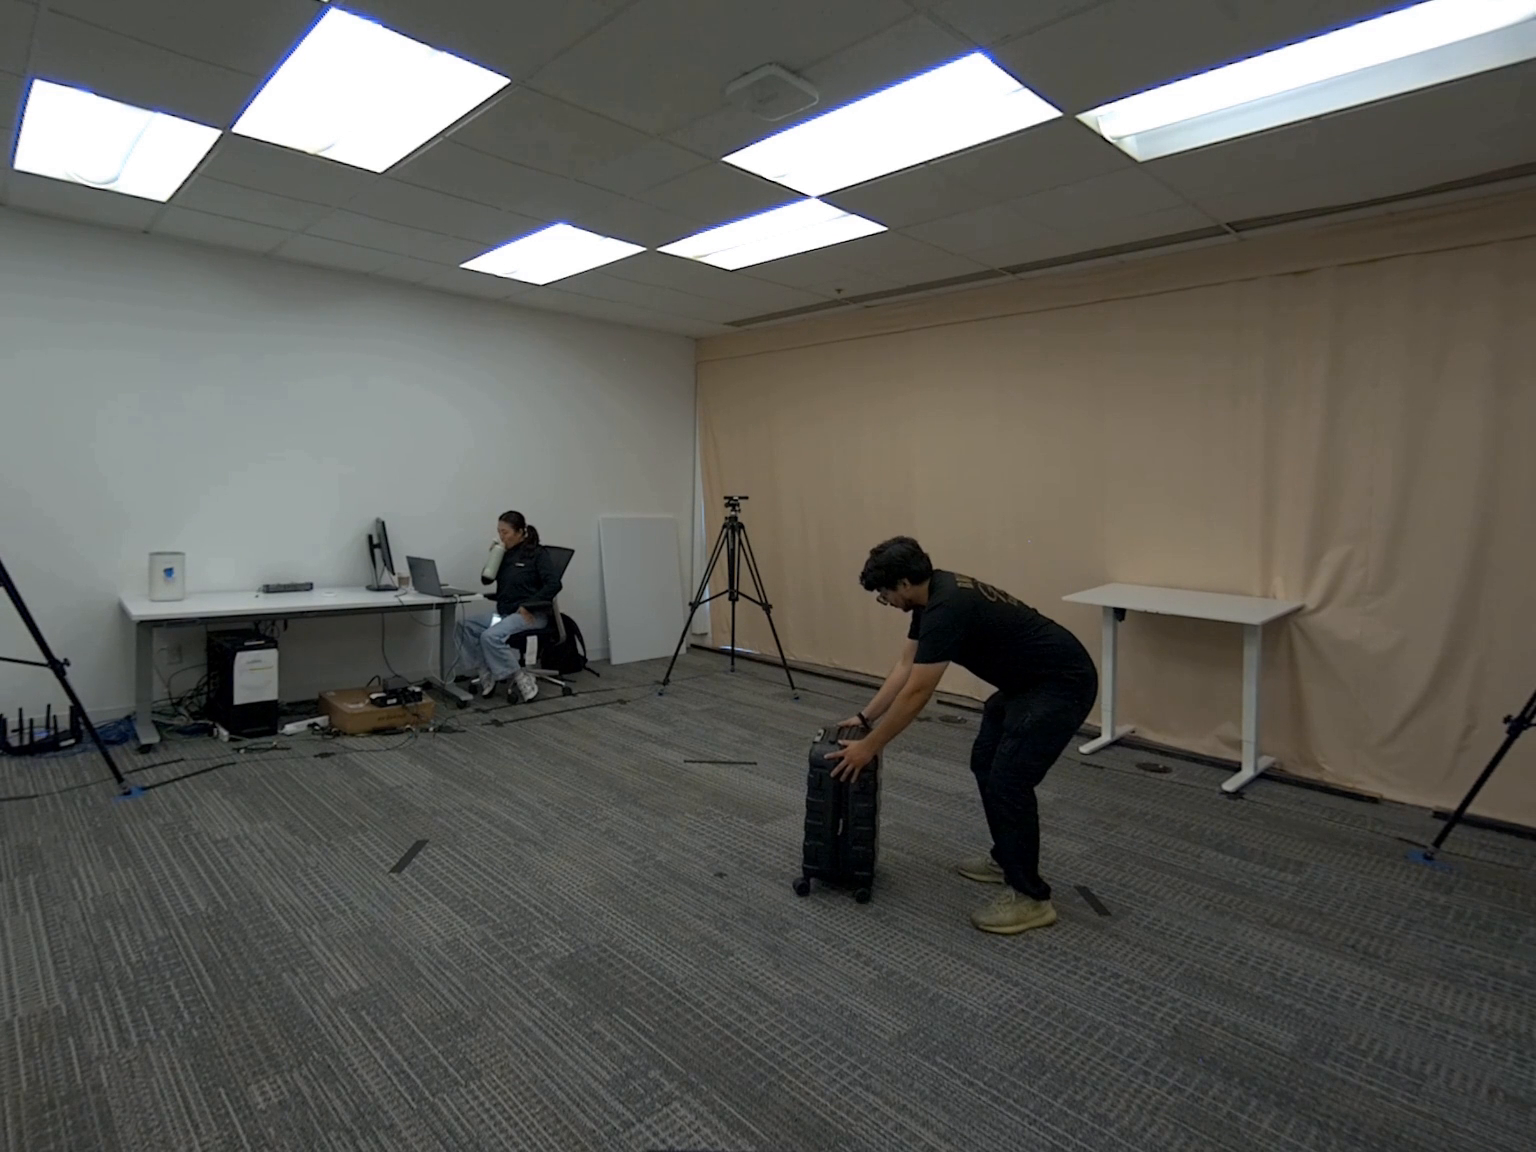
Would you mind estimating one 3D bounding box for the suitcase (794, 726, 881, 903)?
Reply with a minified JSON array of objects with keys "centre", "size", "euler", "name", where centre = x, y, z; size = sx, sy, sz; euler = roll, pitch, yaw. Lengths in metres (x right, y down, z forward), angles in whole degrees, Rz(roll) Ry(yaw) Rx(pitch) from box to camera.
[{"centre":[0.274,0.841,3.076],"size":[0.251,0.548,0.372],"euler":[3,3,10],"name":"suitcase"}]
